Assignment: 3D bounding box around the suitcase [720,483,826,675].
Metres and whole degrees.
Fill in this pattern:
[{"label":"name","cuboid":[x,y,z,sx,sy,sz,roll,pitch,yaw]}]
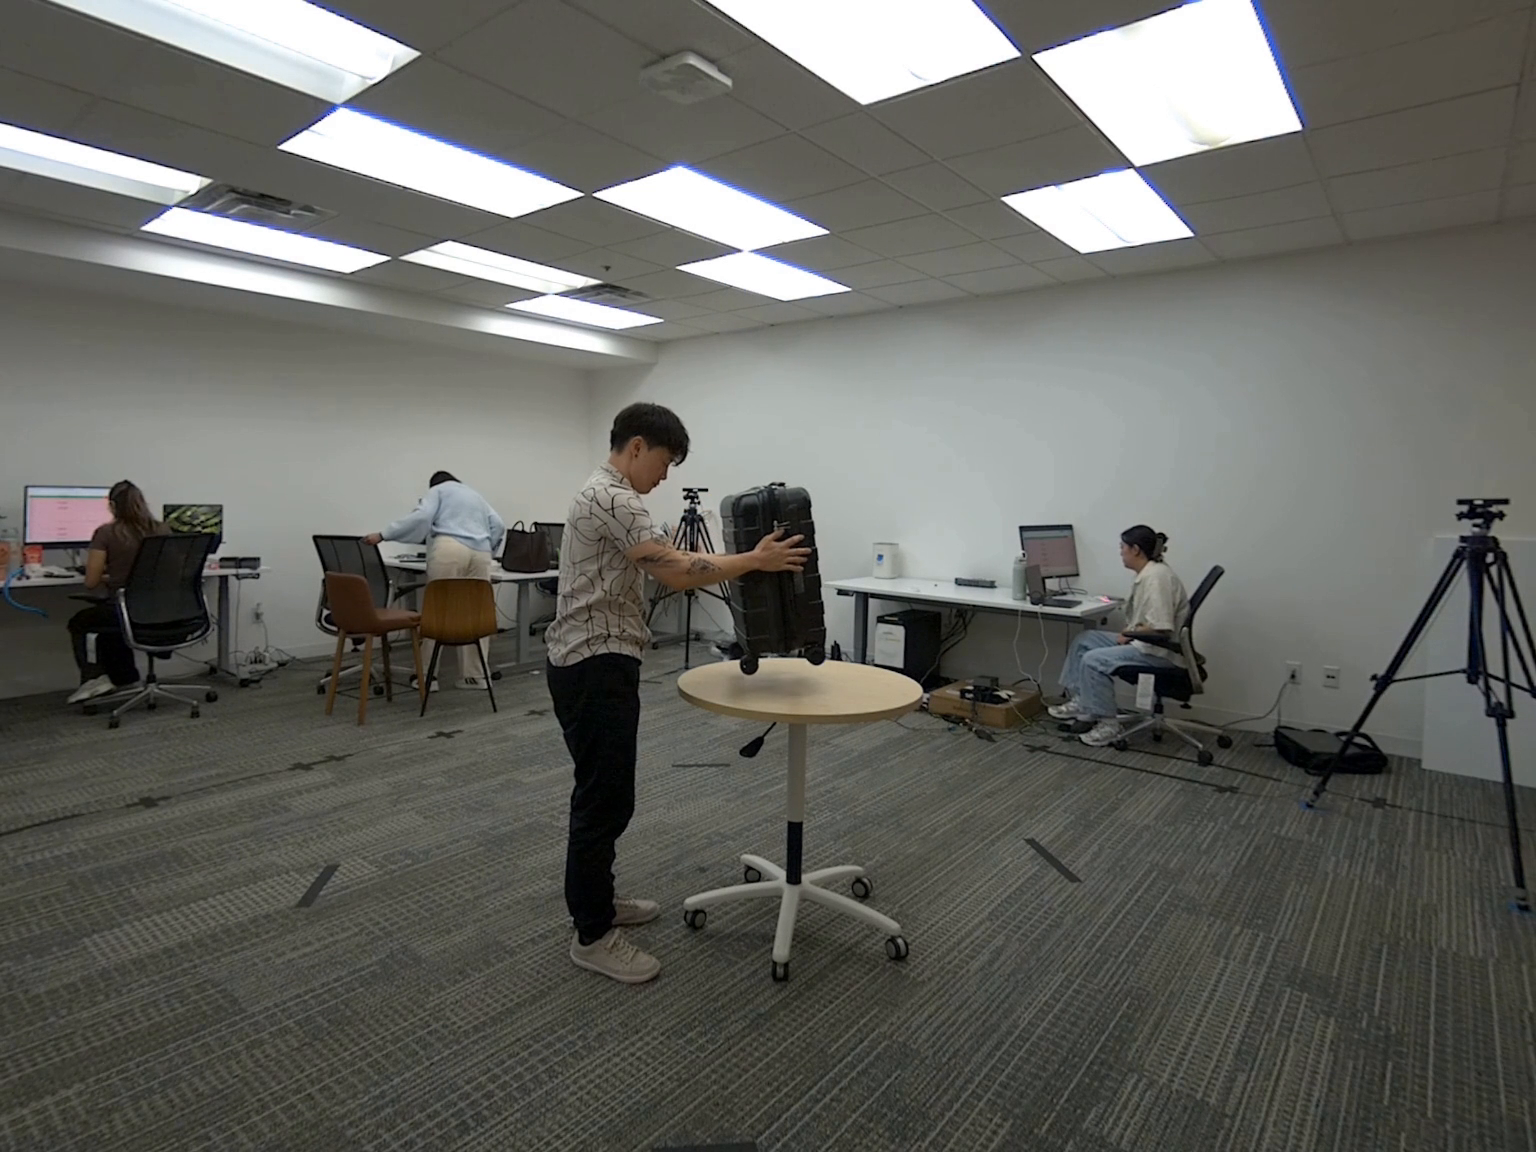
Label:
[{"label":"suitcase","cuboid":[-0.006,-0.011,2.654,0.247,0.547,0.378,-5,4,-5]}]
